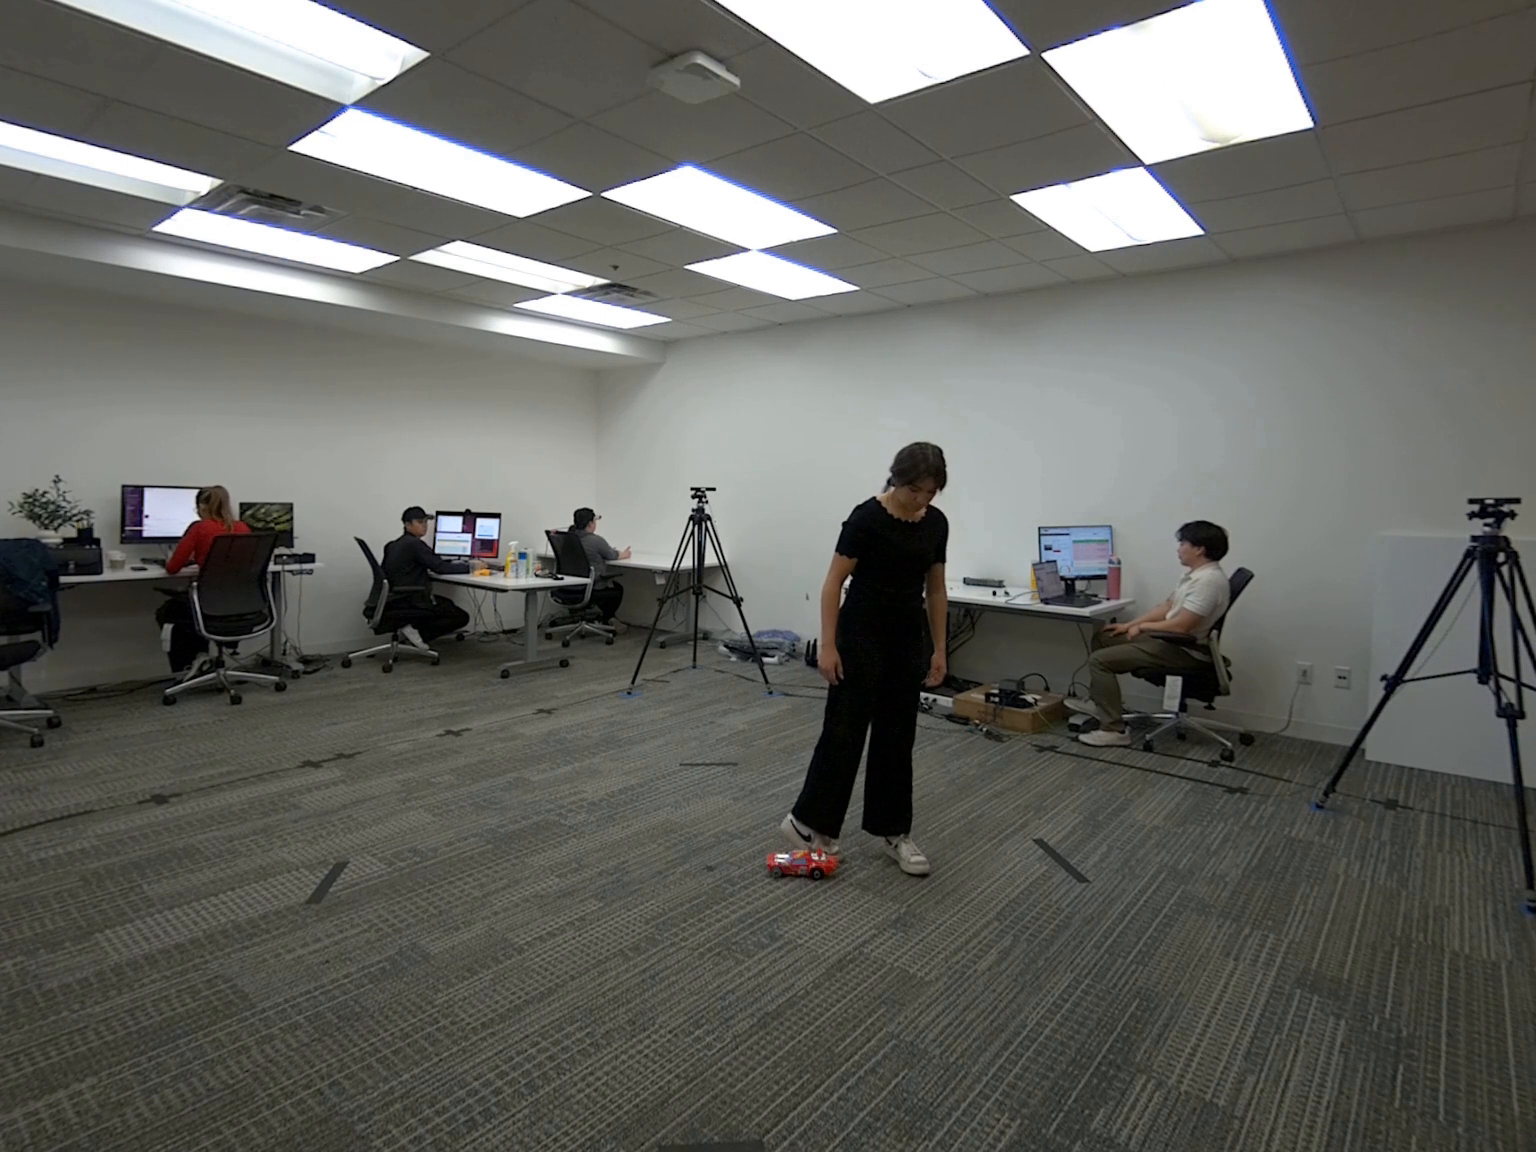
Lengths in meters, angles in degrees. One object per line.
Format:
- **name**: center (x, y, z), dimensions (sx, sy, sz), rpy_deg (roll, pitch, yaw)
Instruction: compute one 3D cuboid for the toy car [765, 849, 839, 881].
- **toy car**: center (0.120, 1.043, 3.086), dimensions (0.256, 0.083, 0.130), rpy_deg (-9, 4, 4)
